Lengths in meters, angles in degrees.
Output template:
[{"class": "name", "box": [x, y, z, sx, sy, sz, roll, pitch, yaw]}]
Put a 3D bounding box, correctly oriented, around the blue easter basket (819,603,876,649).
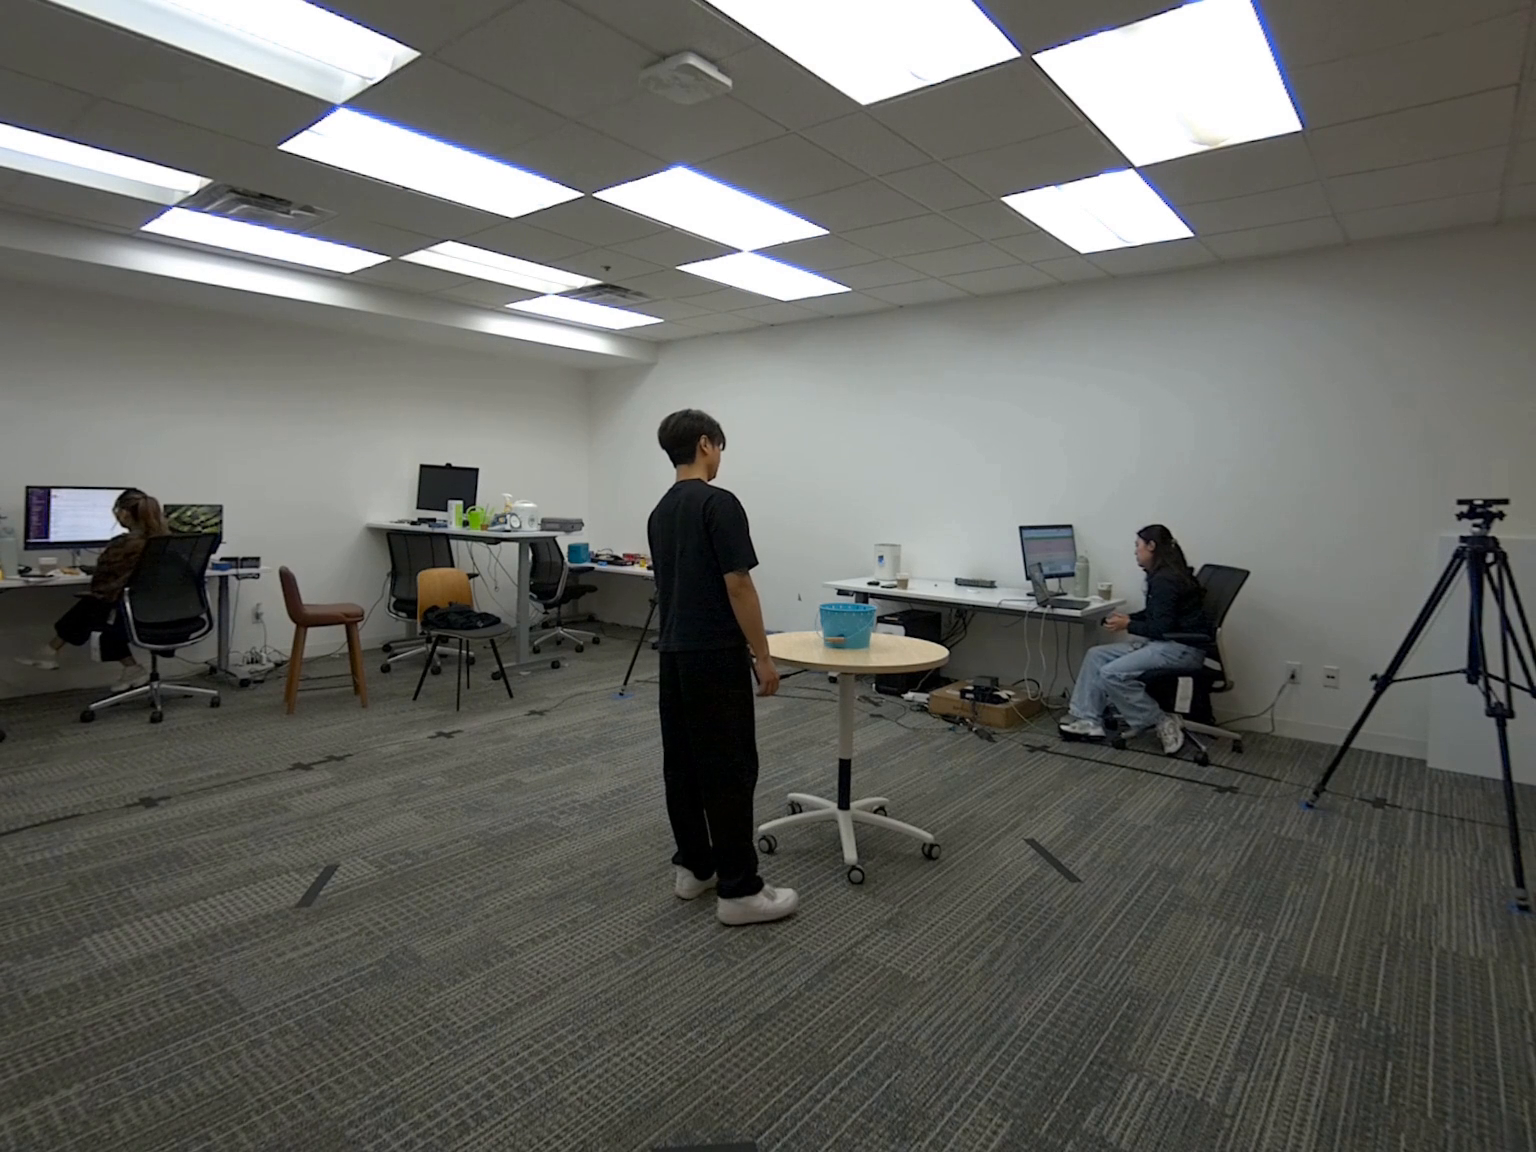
[{"class": "blue easter basket", "box": [0.305, 0.196, 3.378, 0.243, 0.155, 0.245, 1, 4, -2]}]
